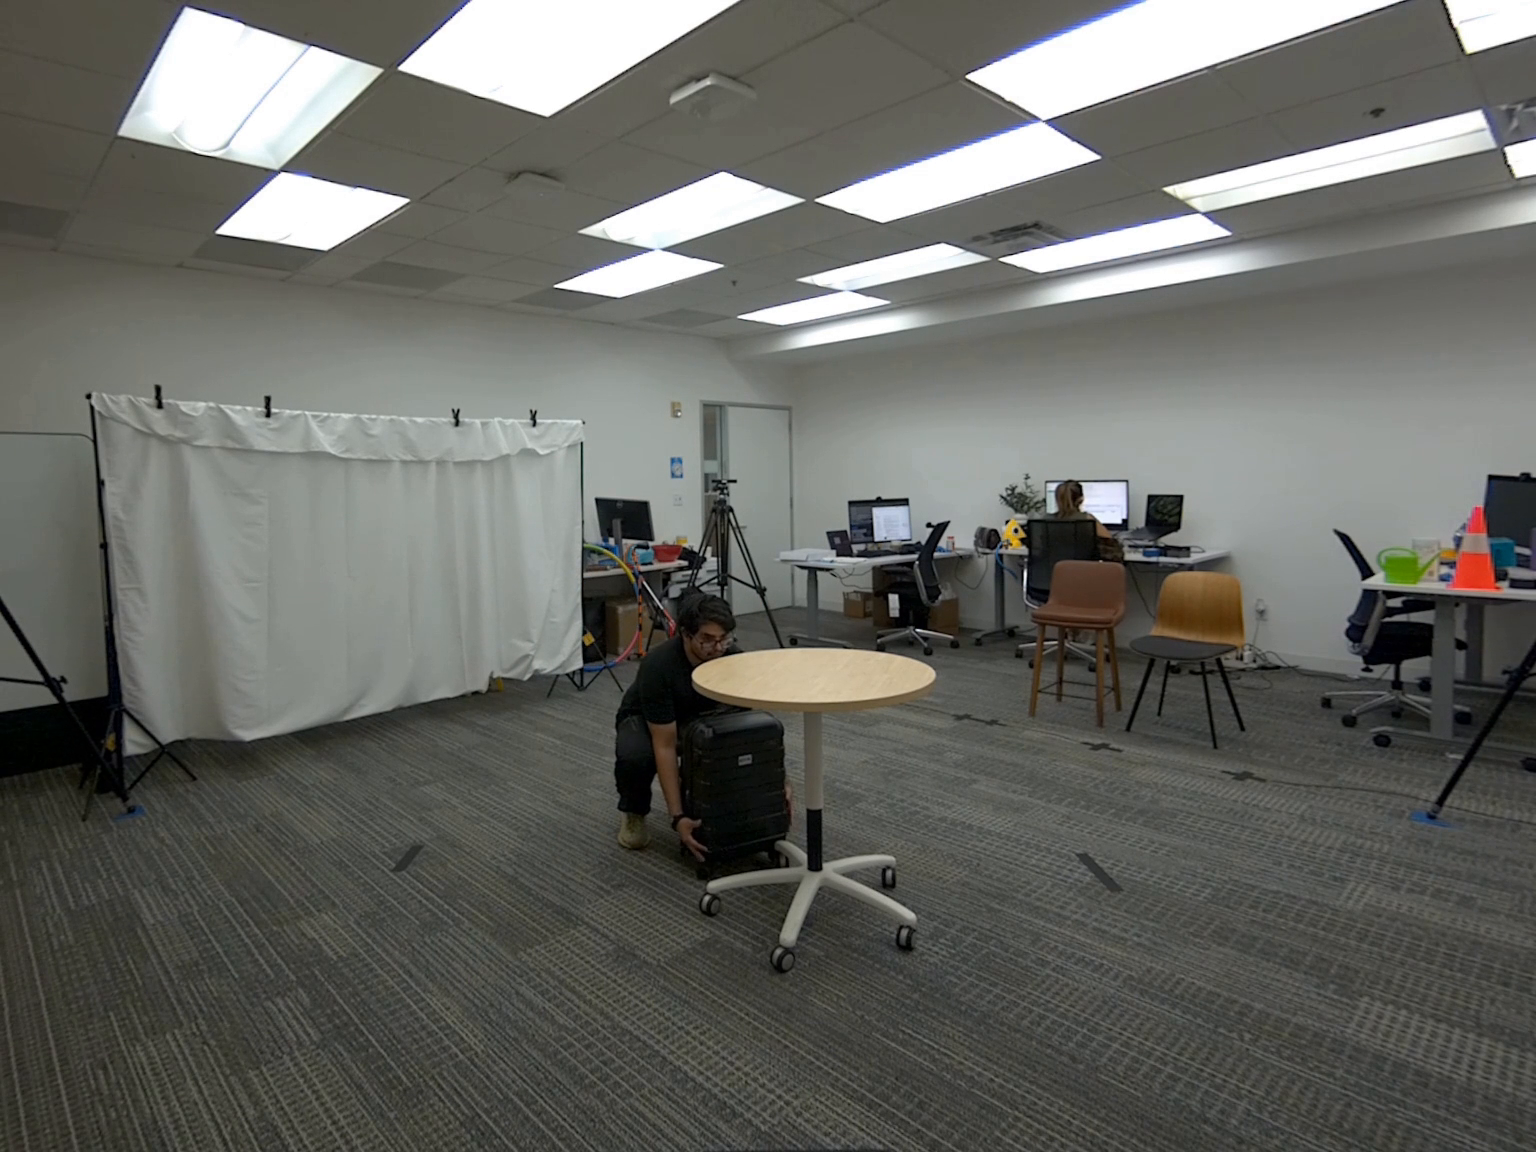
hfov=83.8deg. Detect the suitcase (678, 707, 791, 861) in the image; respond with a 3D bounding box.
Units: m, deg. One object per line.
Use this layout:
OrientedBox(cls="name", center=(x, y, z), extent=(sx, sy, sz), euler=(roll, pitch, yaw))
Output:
OrientedBox(cls="suitcase", center=(-0.132, 0.770, 3.134), extent=(0.368, 0.547, 0.254), euler=(-3, 5, -24))
